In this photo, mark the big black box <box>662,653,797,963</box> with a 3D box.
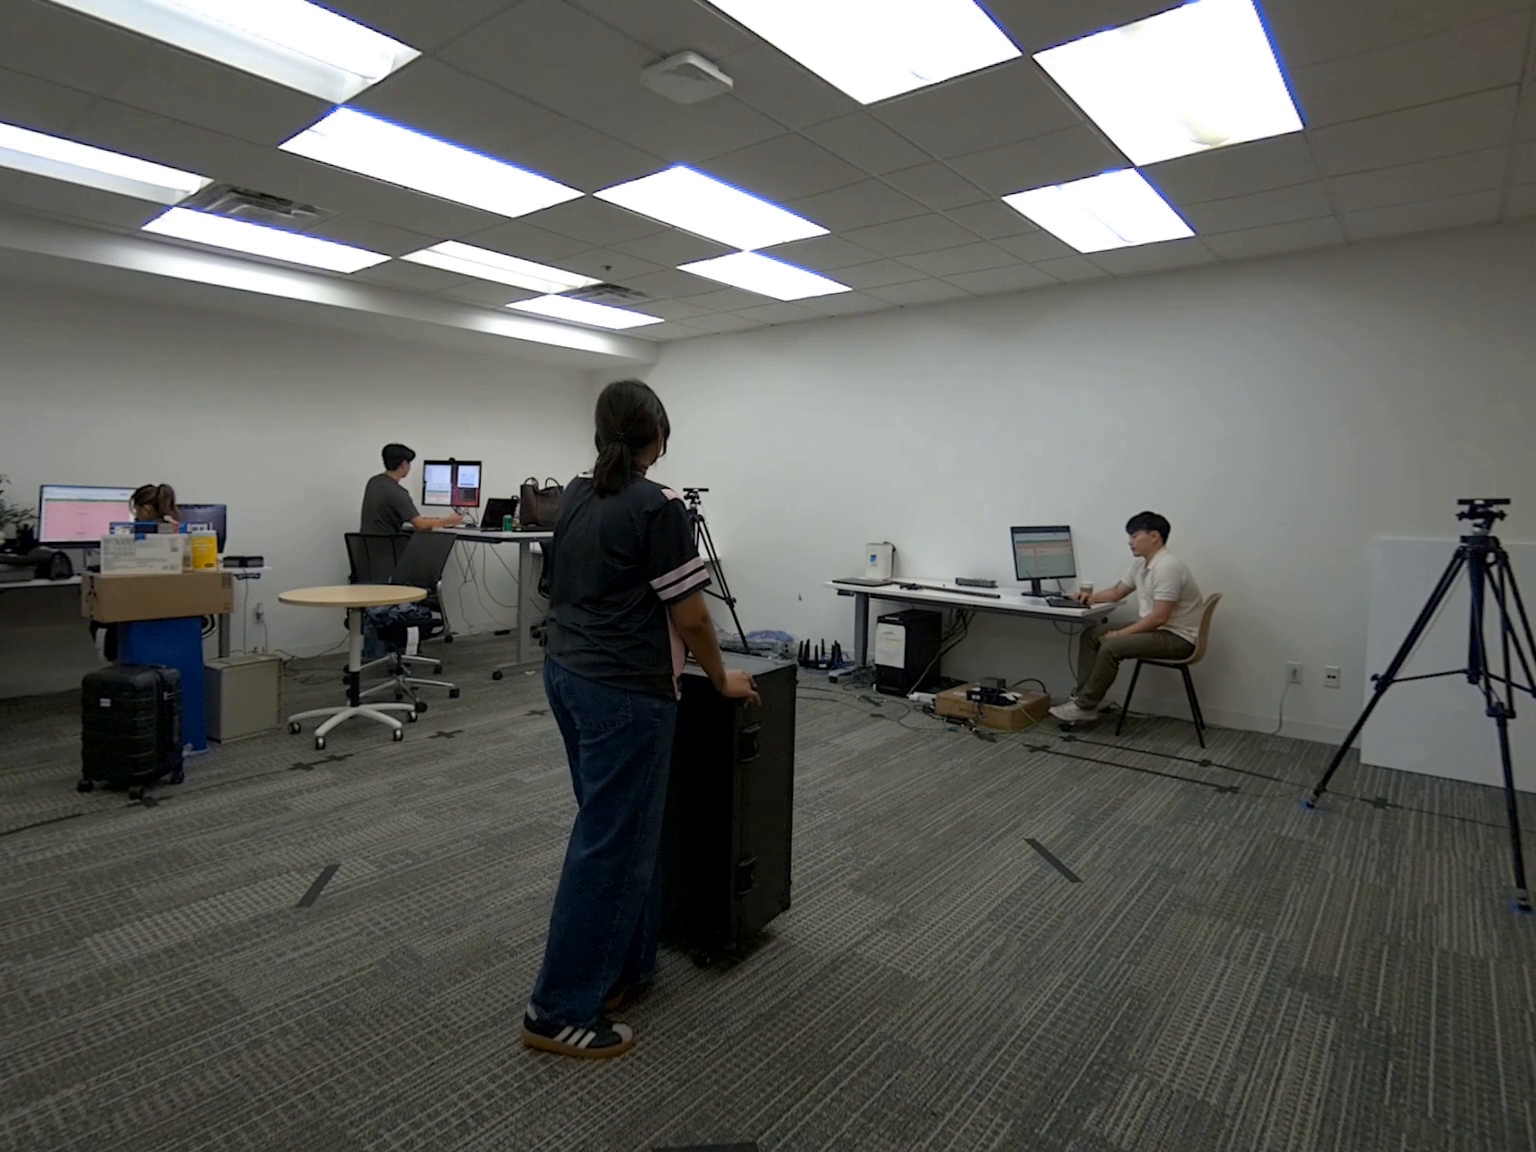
[{"bbox_3d":[-0.226,0.693,2.673,0.540,0.866,0.374,3,3,33],"label":"big black box"}]
